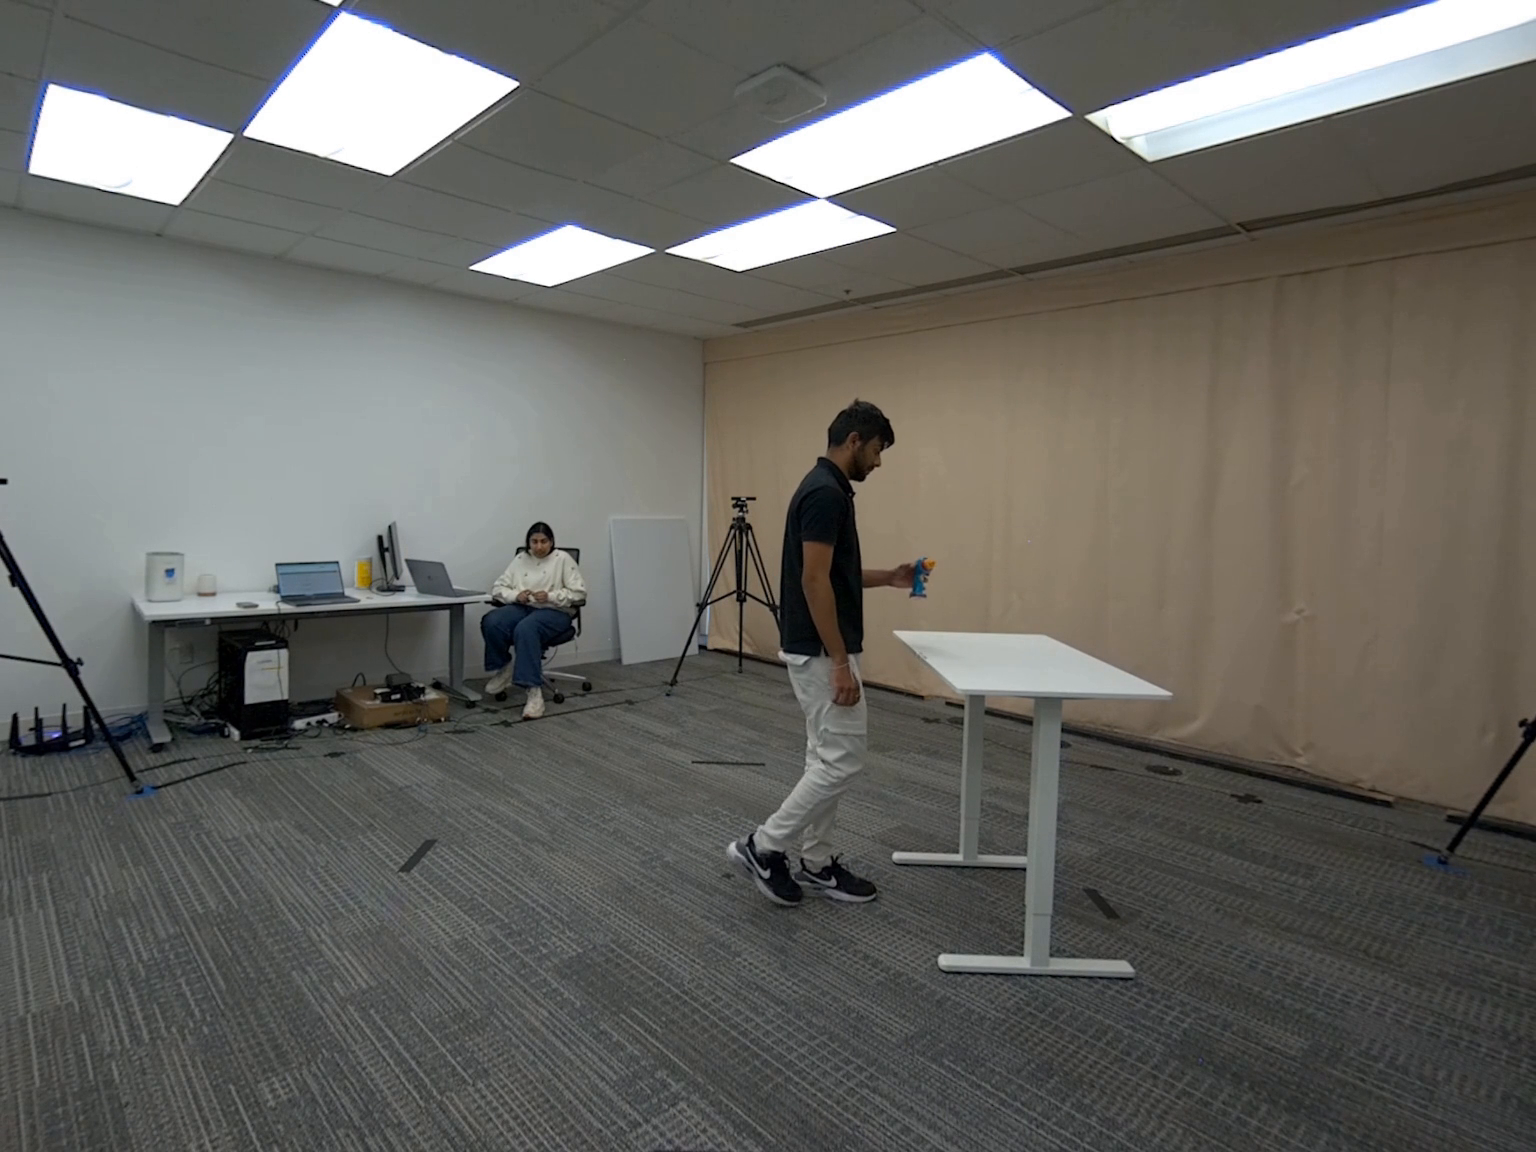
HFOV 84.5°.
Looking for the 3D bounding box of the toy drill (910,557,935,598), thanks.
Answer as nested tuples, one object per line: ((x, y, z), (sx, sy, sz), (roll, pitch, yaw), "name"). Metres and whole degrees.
((0.535, -0.001, 2.938), (0.060, 0.147, 0.171), (11, -11, -15), "toy drill")
